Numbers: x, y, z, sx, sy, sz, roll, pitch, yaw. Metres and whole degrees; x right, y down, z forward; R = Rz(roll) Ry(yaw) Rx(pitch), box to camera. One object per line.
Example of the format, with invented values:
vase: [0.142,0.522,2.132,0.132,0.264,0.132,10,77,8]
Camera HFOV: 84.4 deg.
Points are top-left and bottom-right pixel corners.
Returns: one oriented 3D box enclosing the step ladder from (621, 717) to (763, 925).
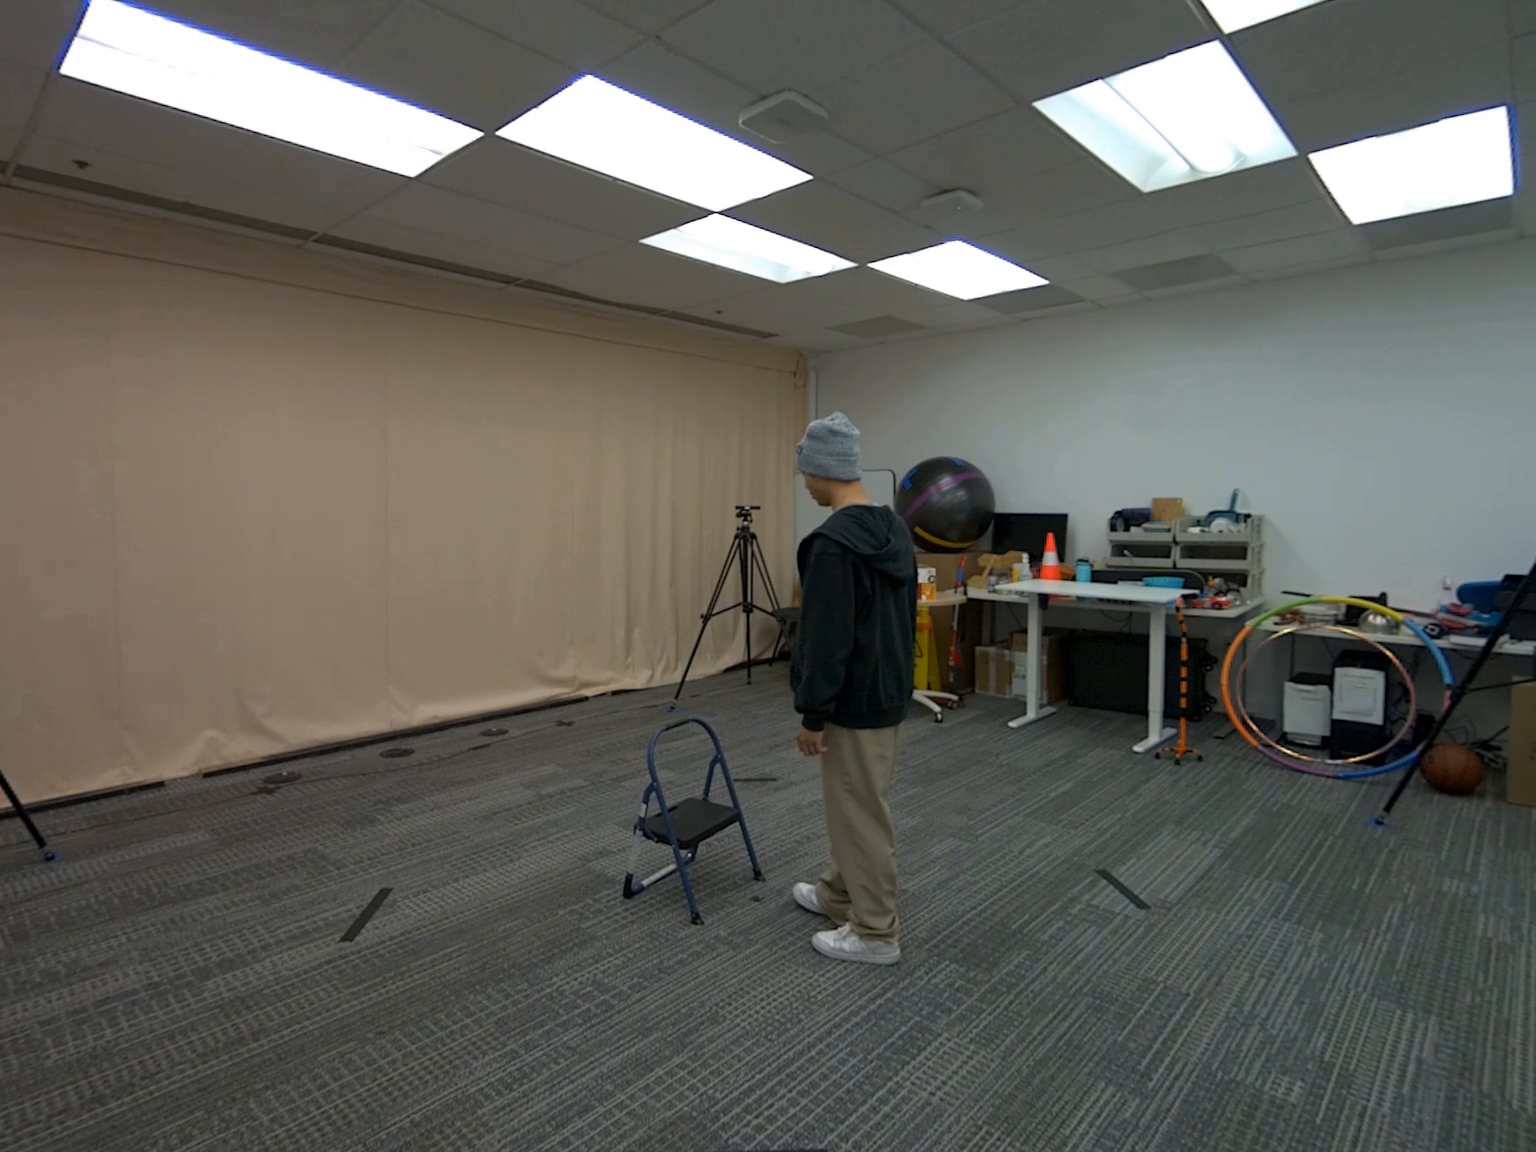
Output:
step ladder: [-0.266,0.837,3.054,0.360,0.605,0.418,2,4,33]
